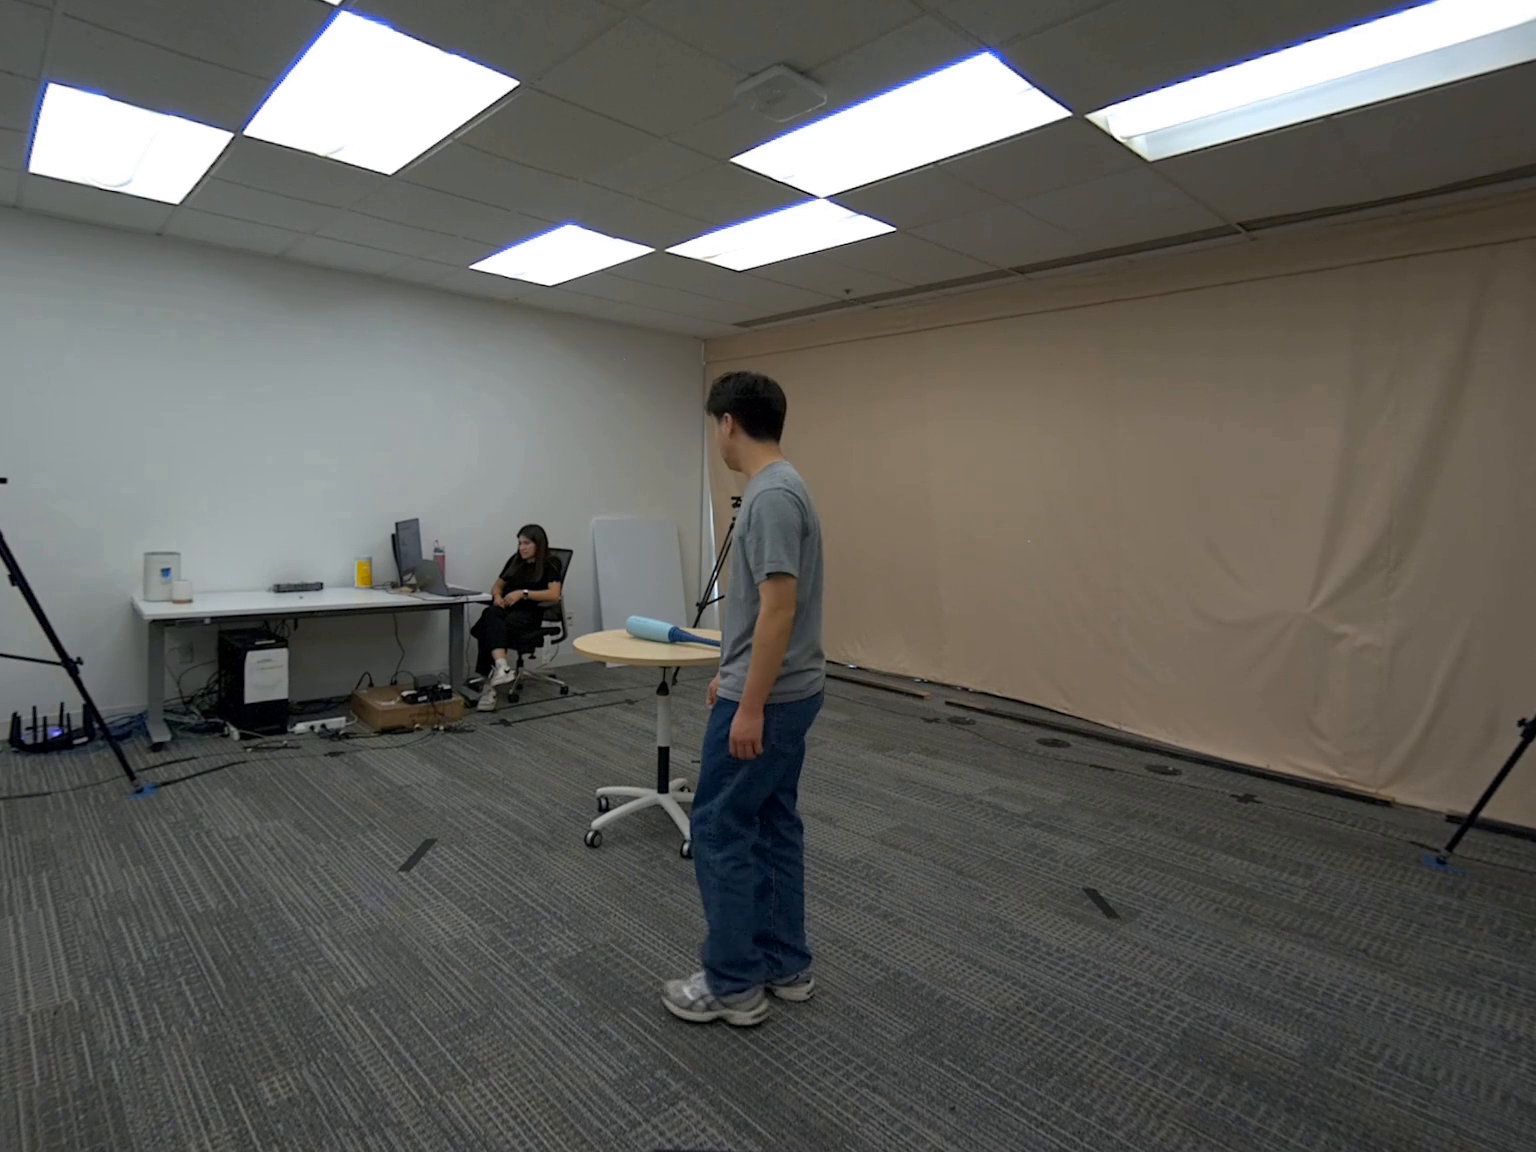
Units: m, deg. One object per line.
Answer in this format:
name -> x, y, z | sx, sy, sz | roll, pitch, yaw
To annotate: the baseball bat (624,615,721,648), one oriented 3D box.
baseball bat -> -0.381, 0.250, 3.488 | 0.557, 0.089, 0.087 | 9, 8, 35
